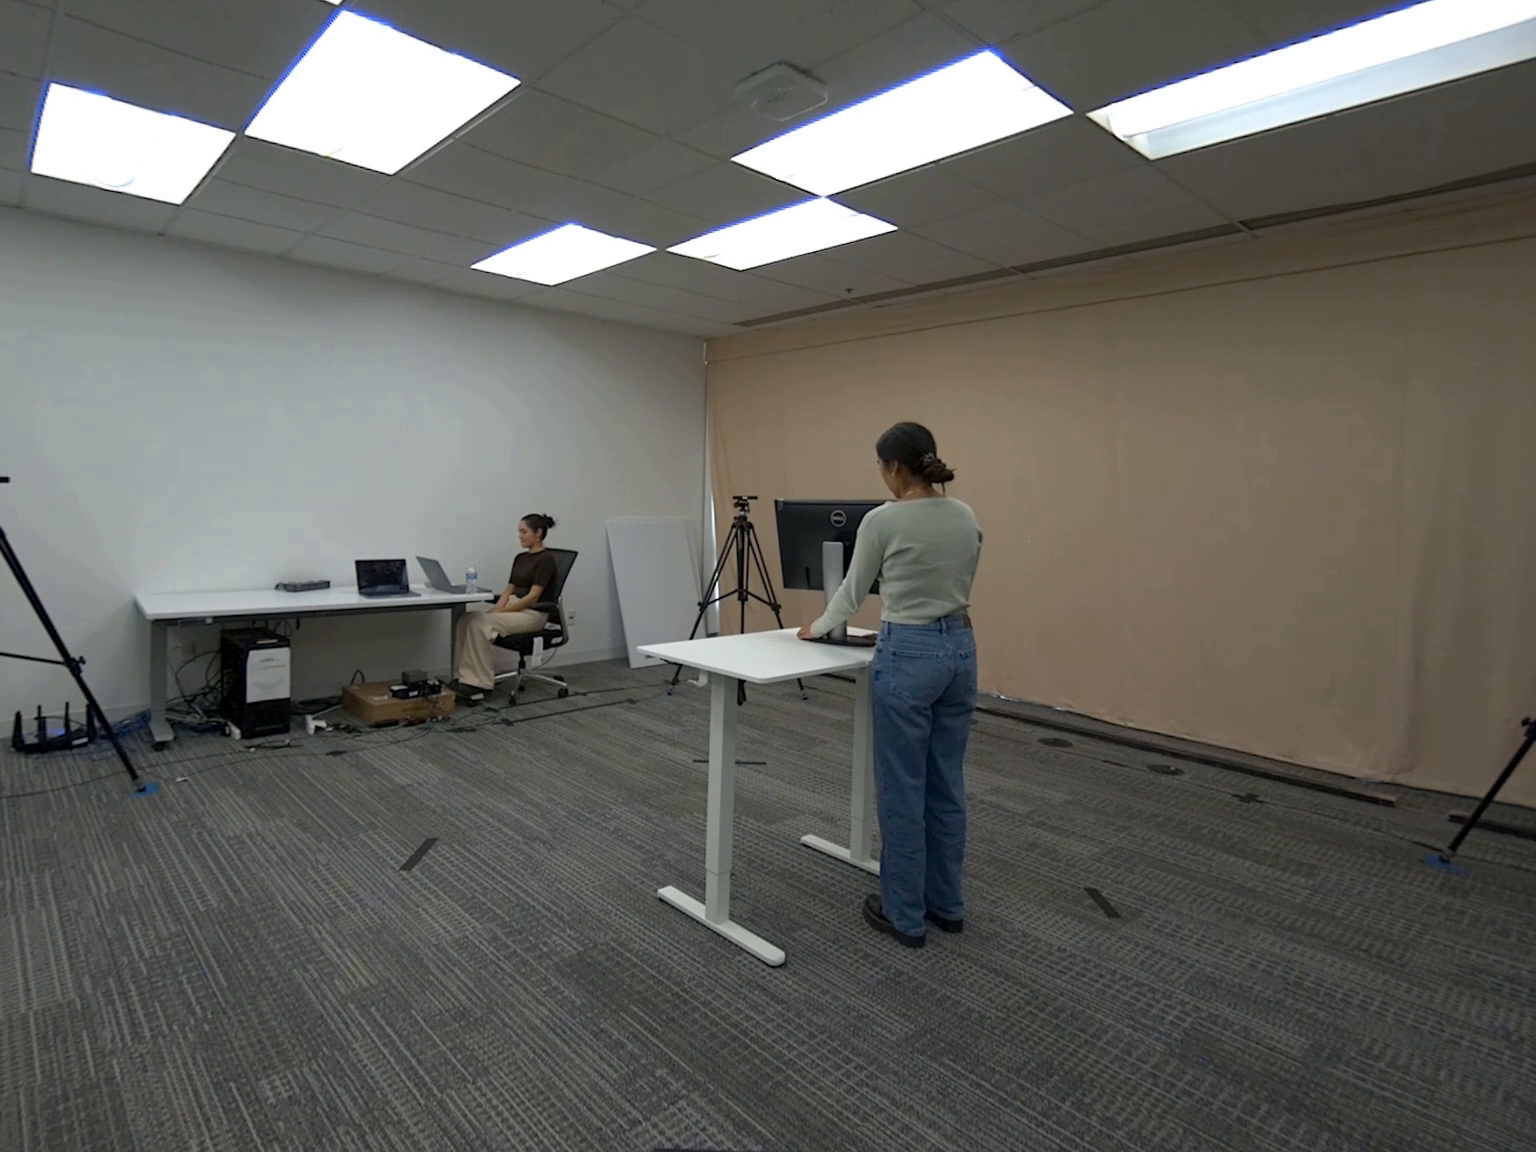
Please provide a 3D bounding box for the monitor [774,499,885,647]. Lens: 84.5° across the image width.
[{"bbox_3d":[0.261,-0.018,3.028,0.541,0.516,0.171,2,0,29],"label":"monitor"}]
